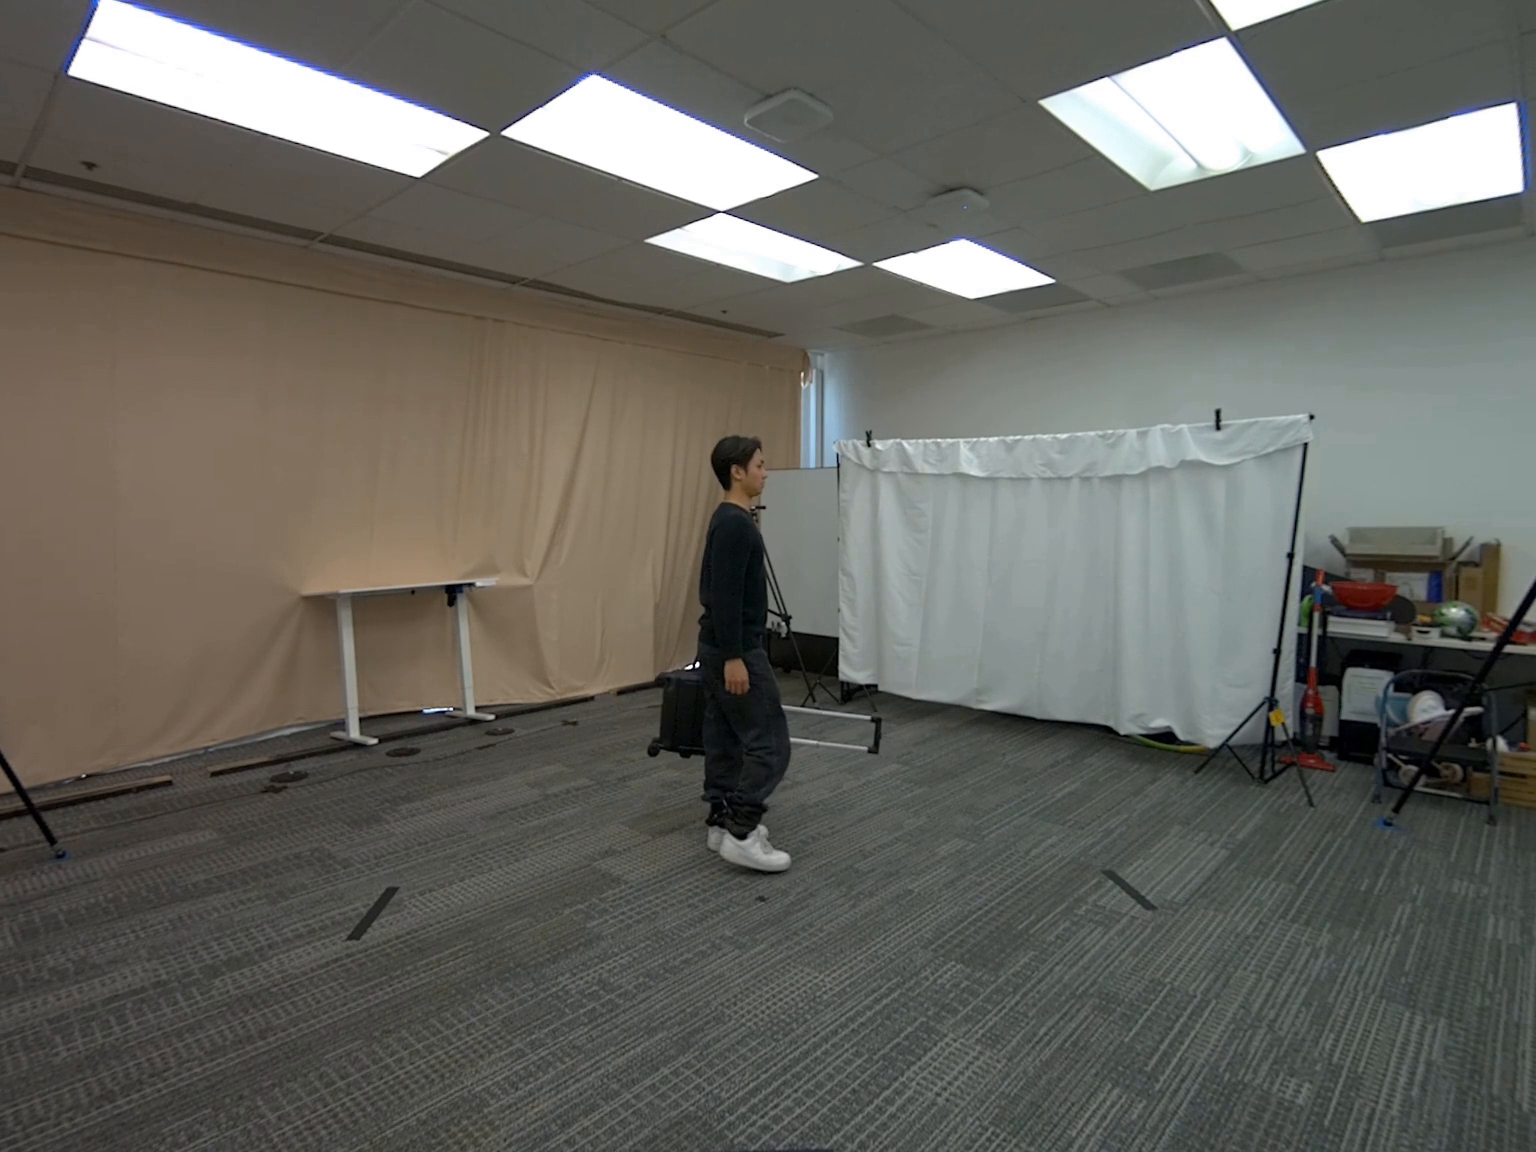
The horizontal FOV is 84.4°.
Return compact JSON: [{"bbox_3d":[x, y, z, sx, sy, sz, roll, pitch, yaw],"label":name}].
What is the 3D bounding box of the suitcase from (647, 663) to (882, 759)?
[{"bbox_3d":[-0.017,0.618,3.693,0.977,0.385,0.257,4,-3,-1],"label":"suitcase"}]
